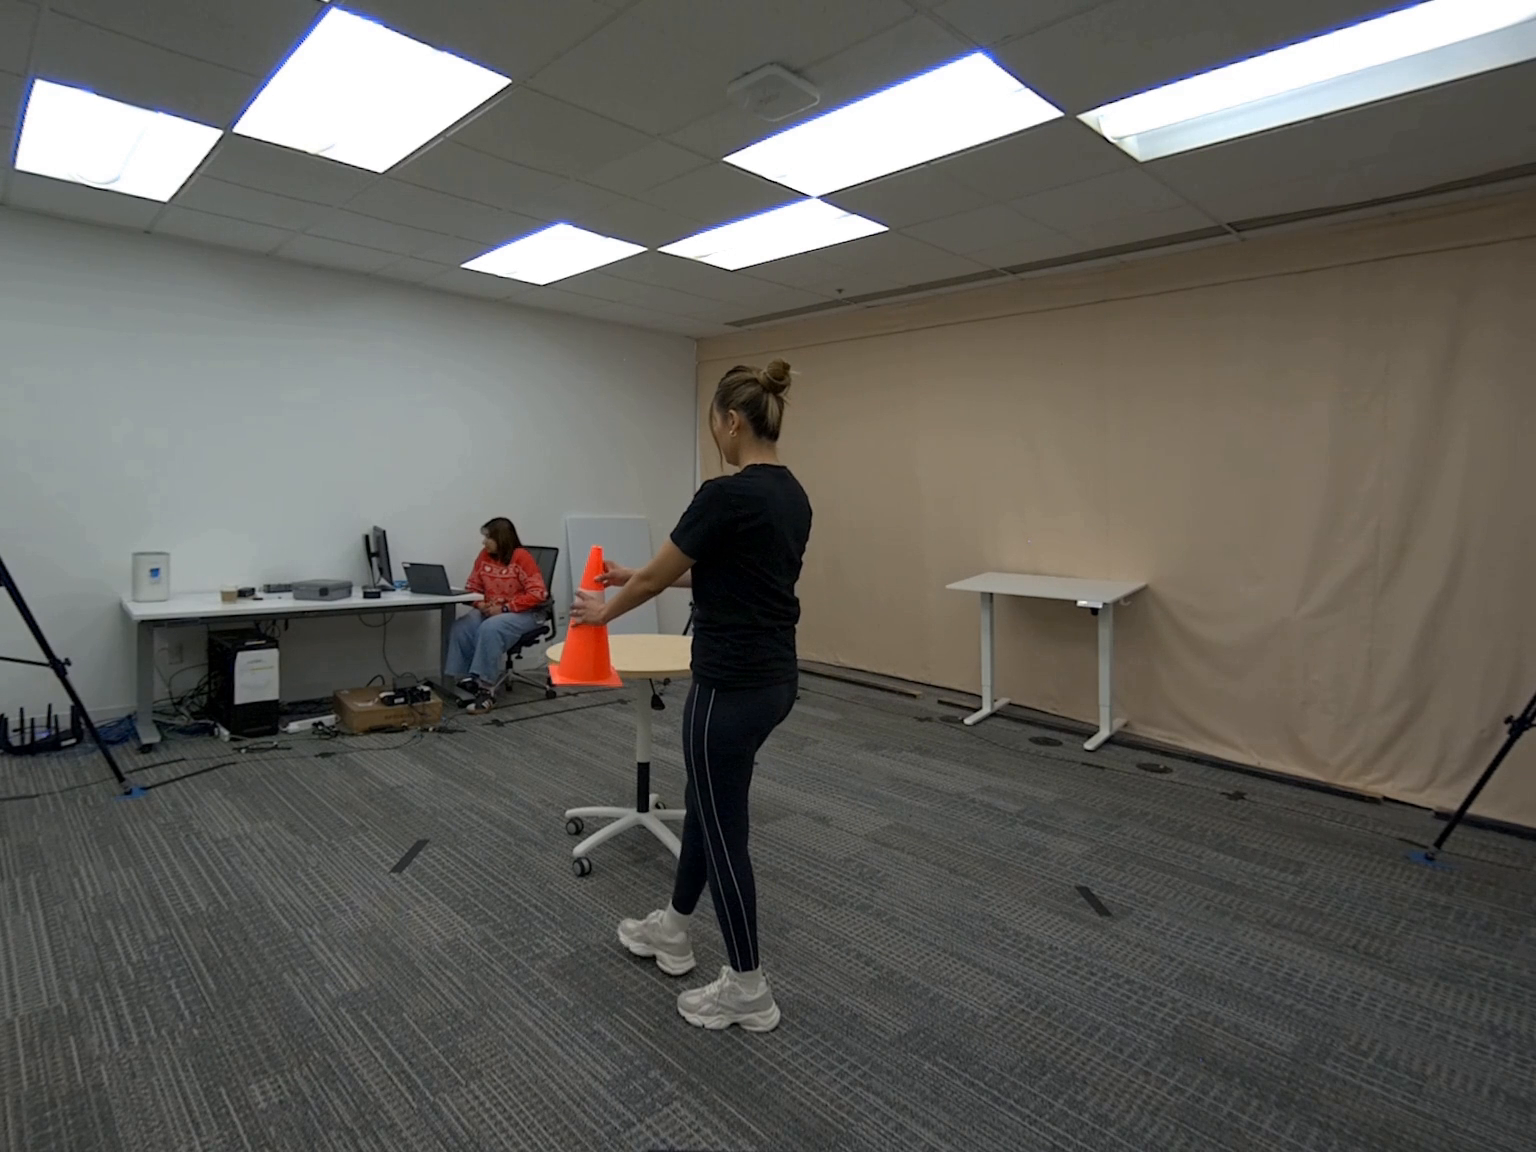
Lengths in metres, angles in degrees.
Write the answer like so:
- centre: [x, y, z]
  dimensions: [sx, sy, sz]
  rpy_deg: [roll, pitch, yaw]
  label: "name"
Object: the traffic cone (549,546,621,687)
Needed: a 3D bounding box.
- centre: [-0.530, 0.108, 2.436]
  dimensions: [0.198, 0.382, 0.210]
  rpy_deg: [-1, 8, -45]
  label: "traffic cone"
